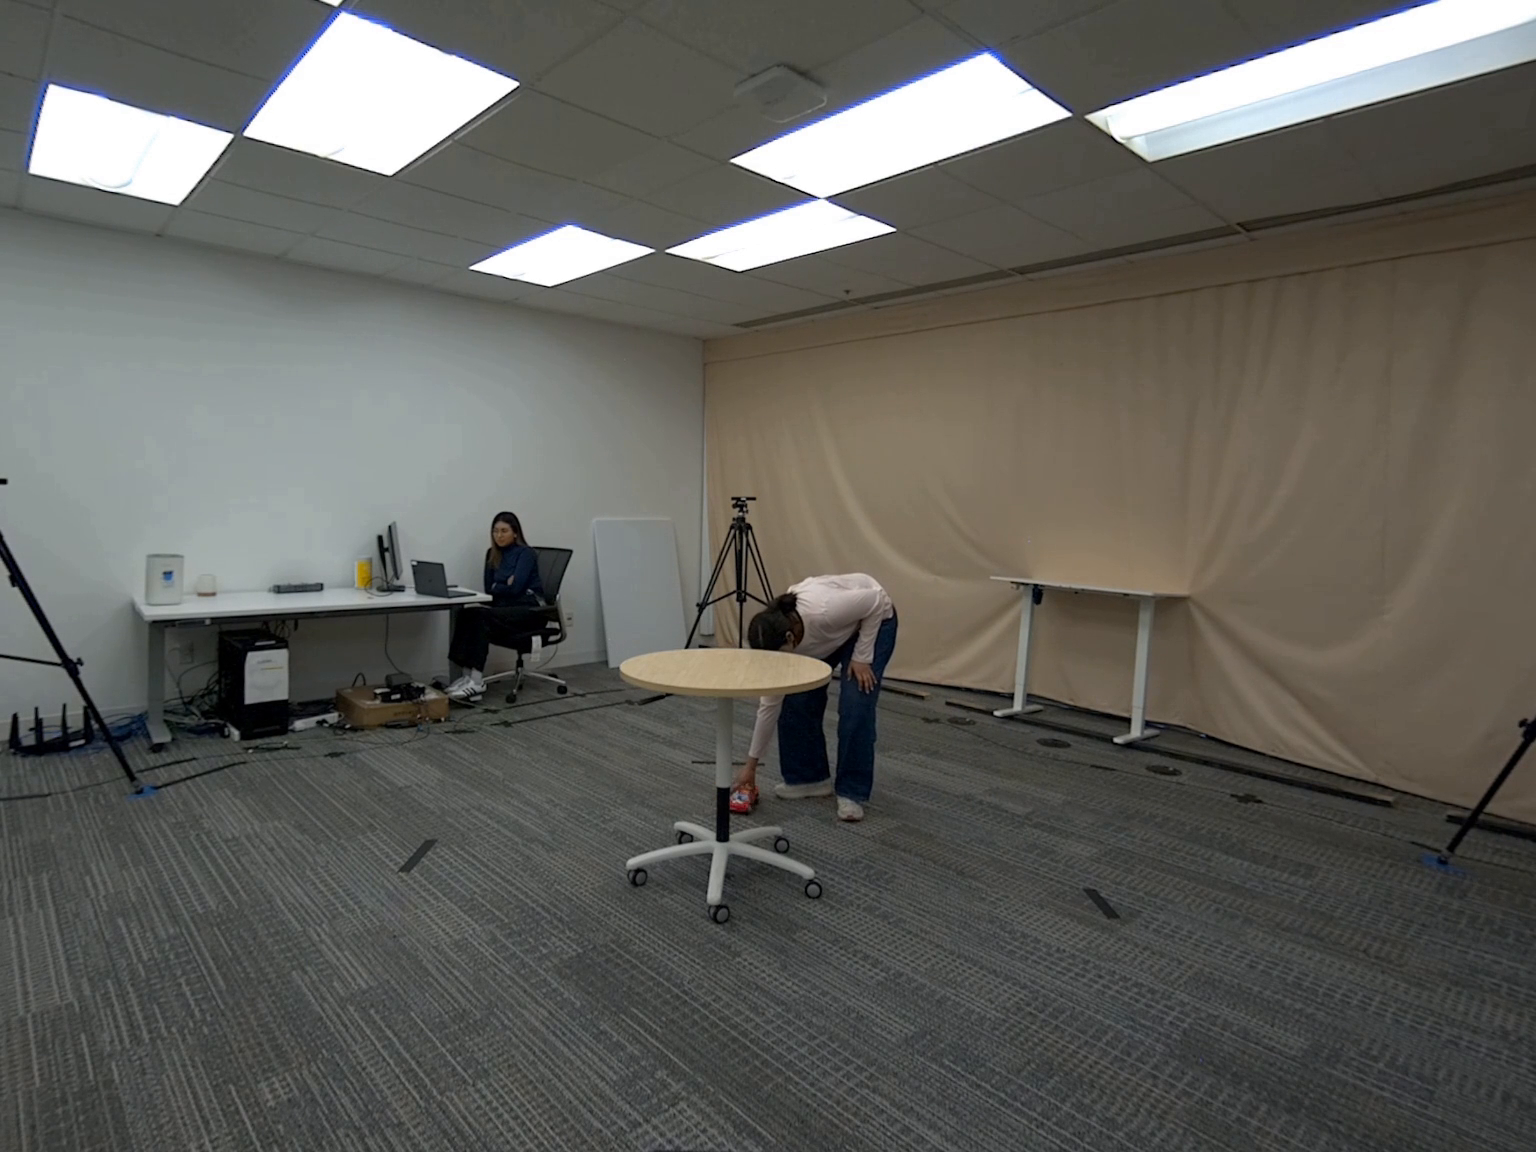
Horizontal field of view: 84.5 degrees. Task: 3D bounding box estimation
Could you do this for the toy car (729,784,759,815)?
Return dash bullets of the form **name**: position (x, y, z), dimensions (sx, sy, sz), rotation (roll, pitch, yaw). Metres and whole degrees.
- **toy car**: position (-0.122, 1.013, 3.830), dimensions (0.132, 0.082, 0.254), rotation (3, 16, 14)
